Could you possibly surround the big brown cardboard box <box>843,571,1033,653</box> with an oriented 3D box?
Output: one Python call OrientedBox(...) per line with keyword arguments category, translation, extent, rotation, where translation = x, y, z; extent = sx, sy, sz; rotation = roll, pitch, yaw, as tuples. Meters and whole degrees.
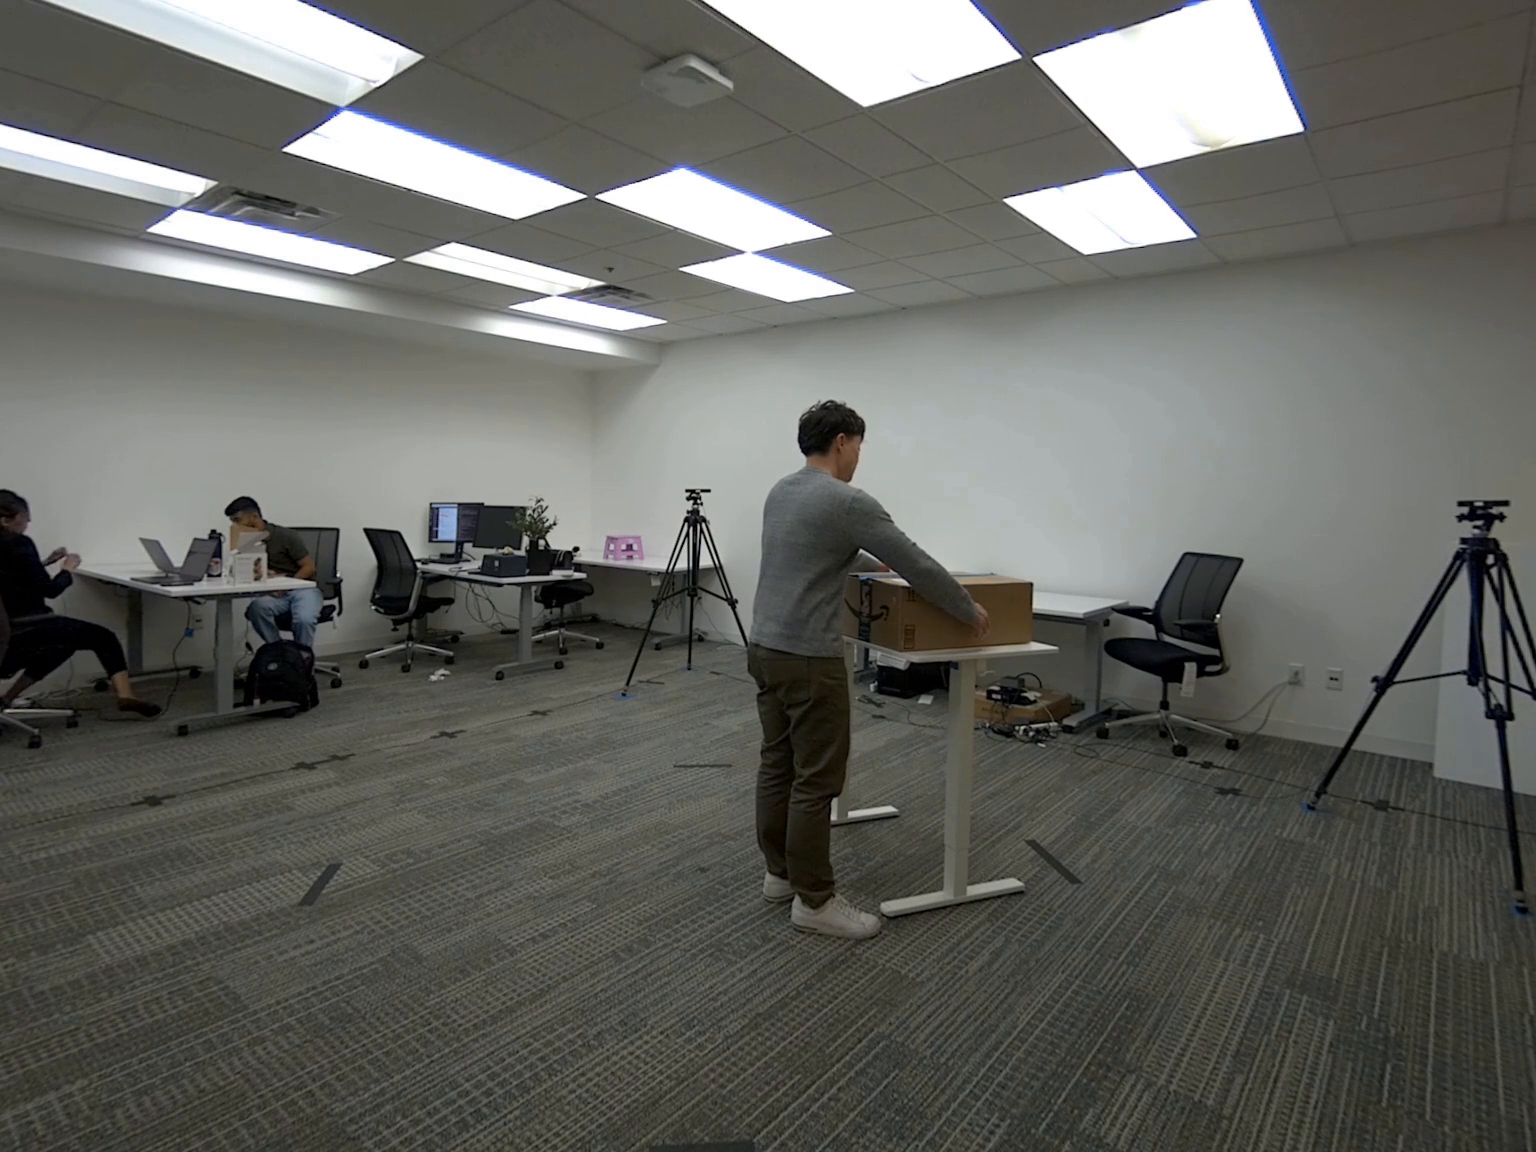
OrientedBox(category="big brown cardboard box", translation=(0.568, 0.112, 3.023), extent=(0.574, 0.232, 0.429), rotation=(0, 5, -27))
